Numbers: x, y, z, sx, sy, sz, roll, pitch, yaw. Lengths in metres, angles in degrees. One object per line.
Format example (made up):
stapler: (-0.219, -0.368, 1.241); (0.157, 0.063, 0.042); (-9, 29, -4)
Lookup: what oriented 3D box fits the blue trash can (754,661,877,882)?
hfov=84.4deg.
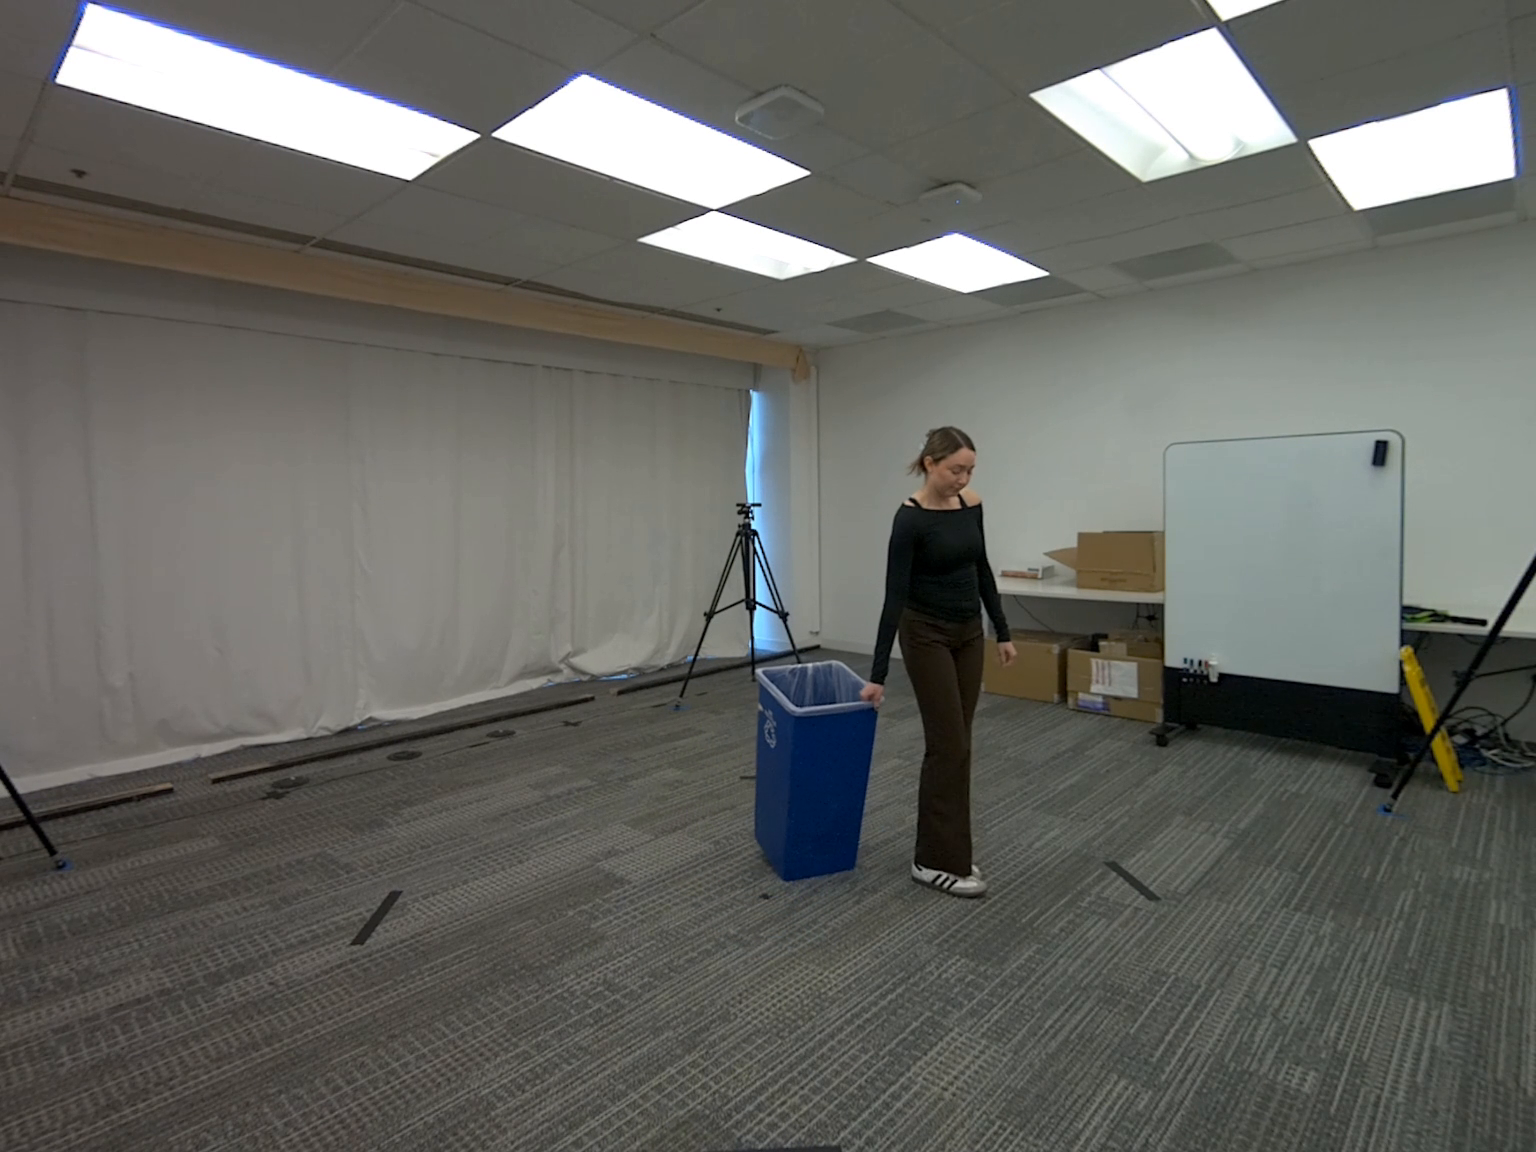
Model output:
blue trash can: (0.172, 0.735, 3.172); (0.370, 0.707, 0.385); (-3, 17, -22)
